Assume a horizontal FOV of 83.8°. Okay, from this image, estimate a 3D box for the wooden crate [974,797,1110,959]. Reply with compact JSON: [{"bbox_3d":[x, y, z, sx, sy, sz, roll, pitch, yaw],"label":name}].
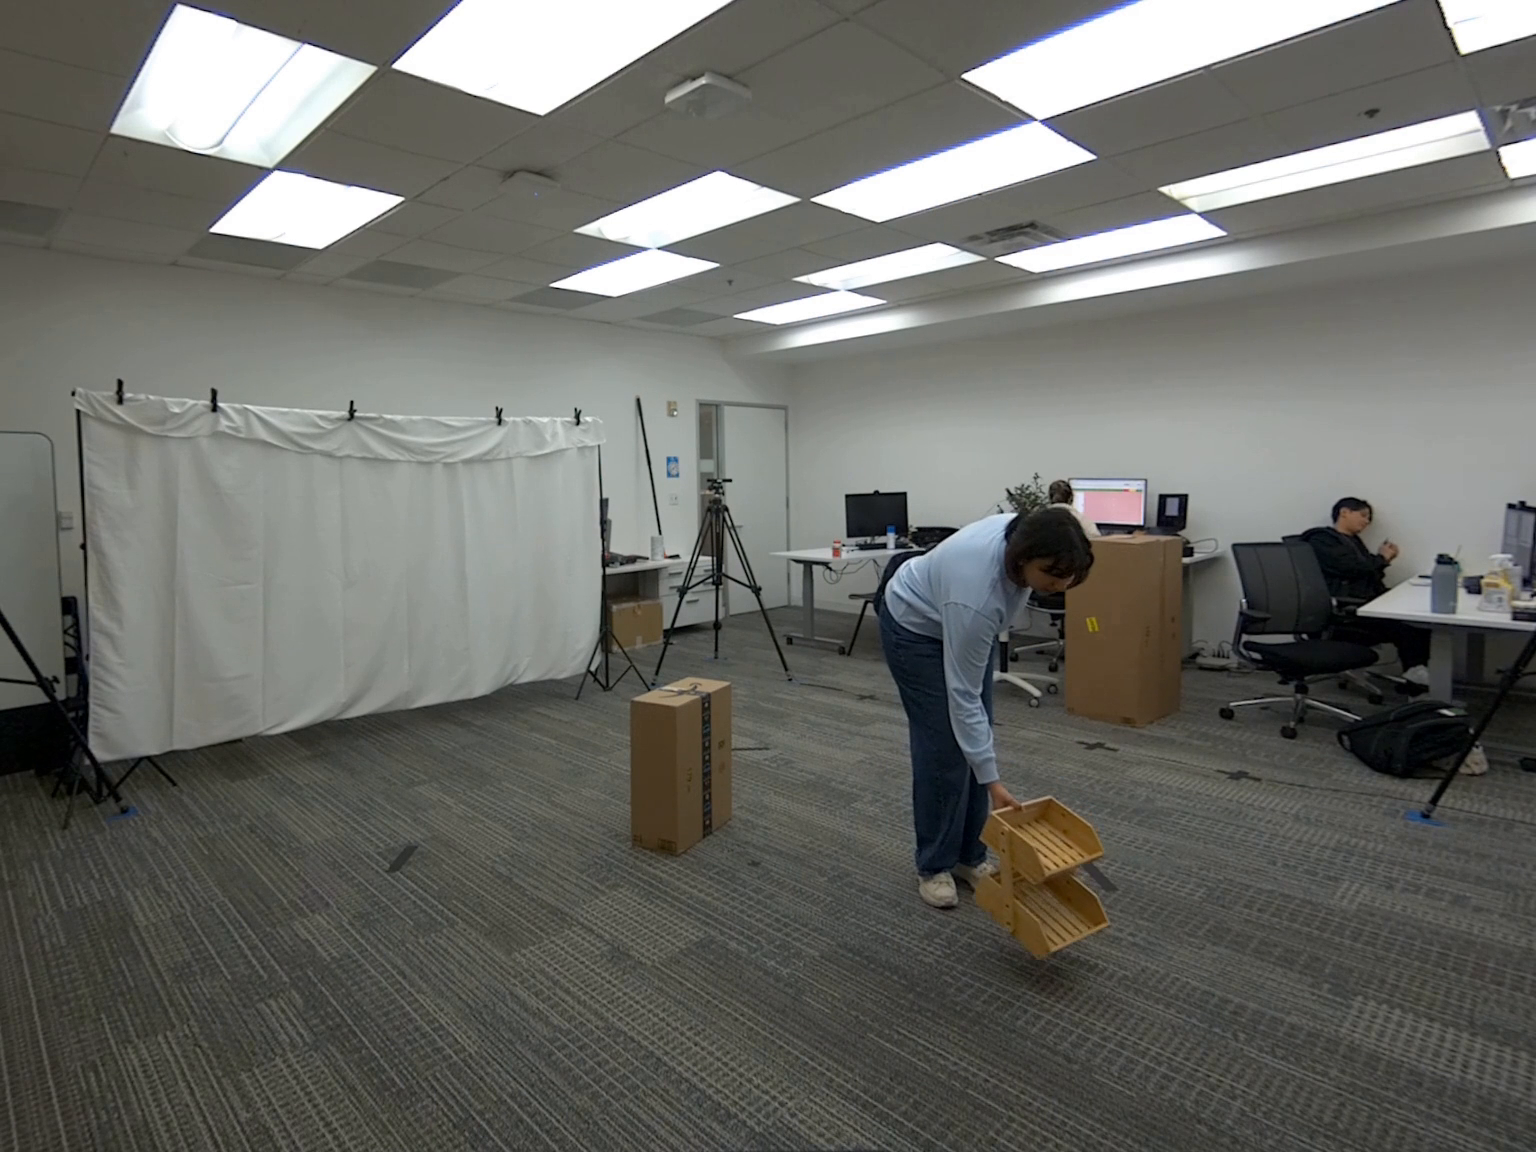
[{"bbox_3d":[0.803,0.843,2.403,0.315,0.270,0.314,-1,23,-42],"label":"wooden crate"}]
